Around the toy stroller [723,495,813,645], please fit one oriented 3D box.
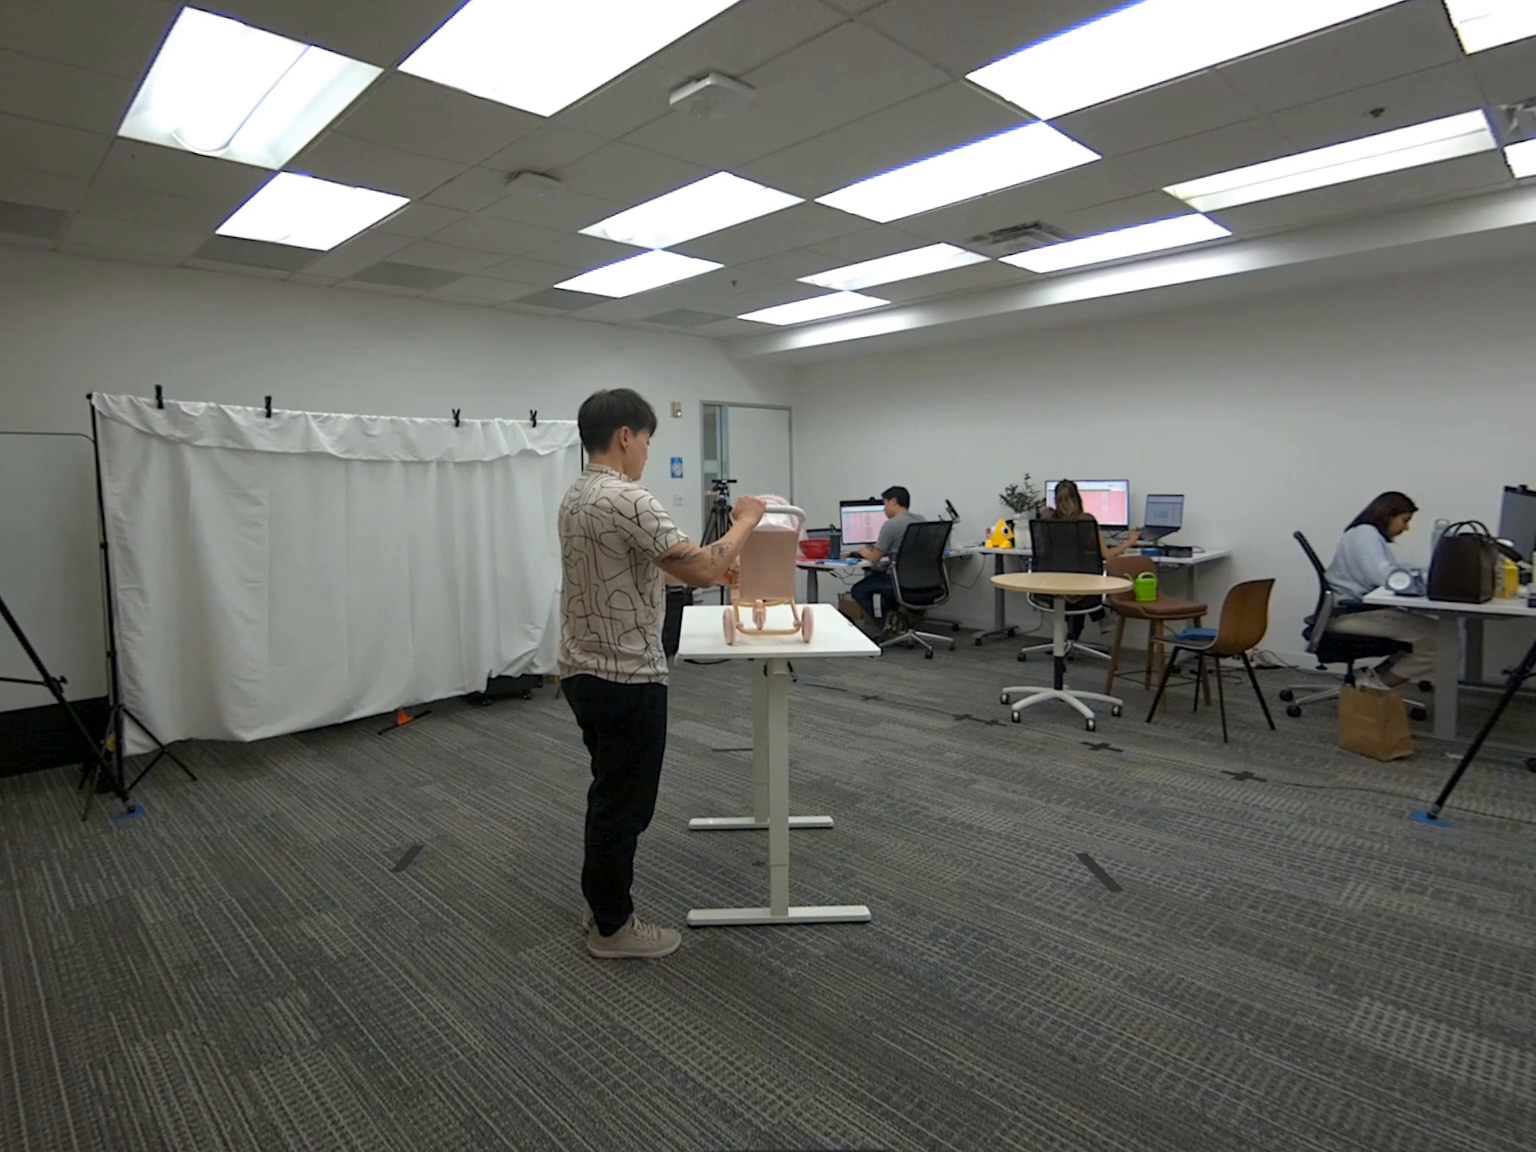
[{"bbox_3d":[-0.004,-0.020,2.740,0.281,0.526,0.348,0,19,-3],"label":"toy stroller"}]
